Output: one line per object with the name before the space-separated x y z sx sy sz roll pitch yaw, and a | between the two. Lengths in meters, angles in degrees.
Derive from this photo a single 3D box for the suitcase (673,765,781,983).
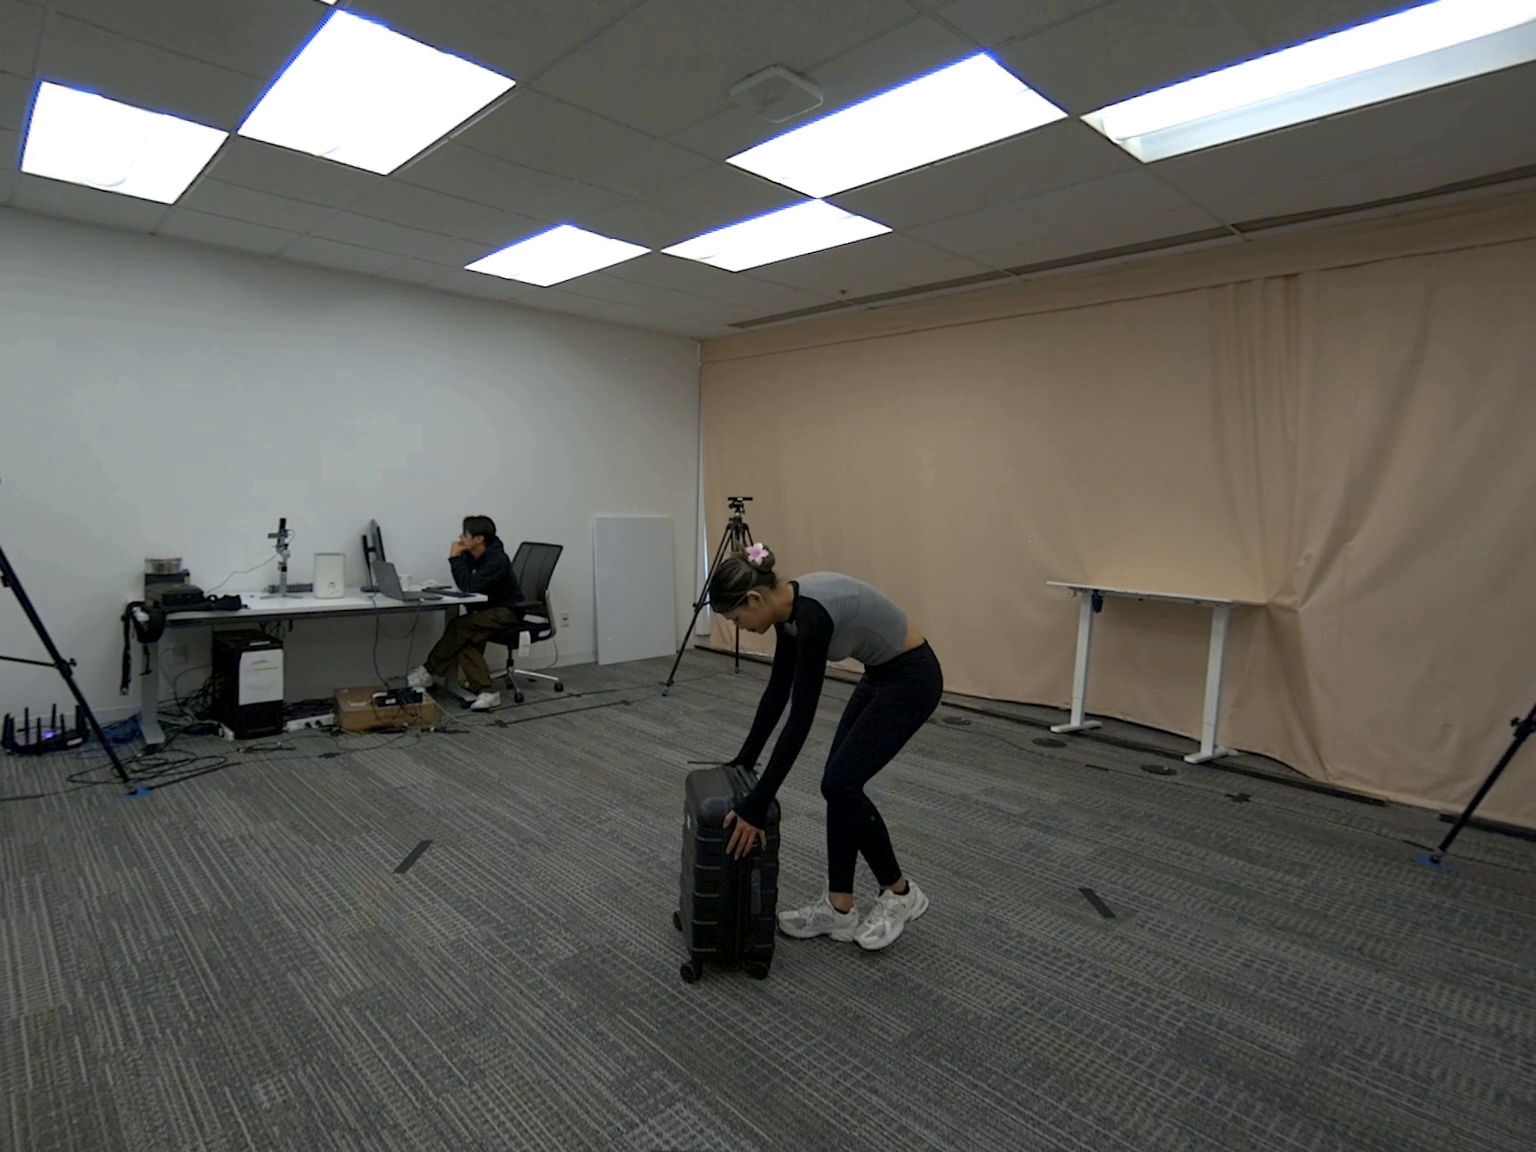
suitcase | -0.126 0.884 2.552 0.246 0.548 0.380 2 4 -11
